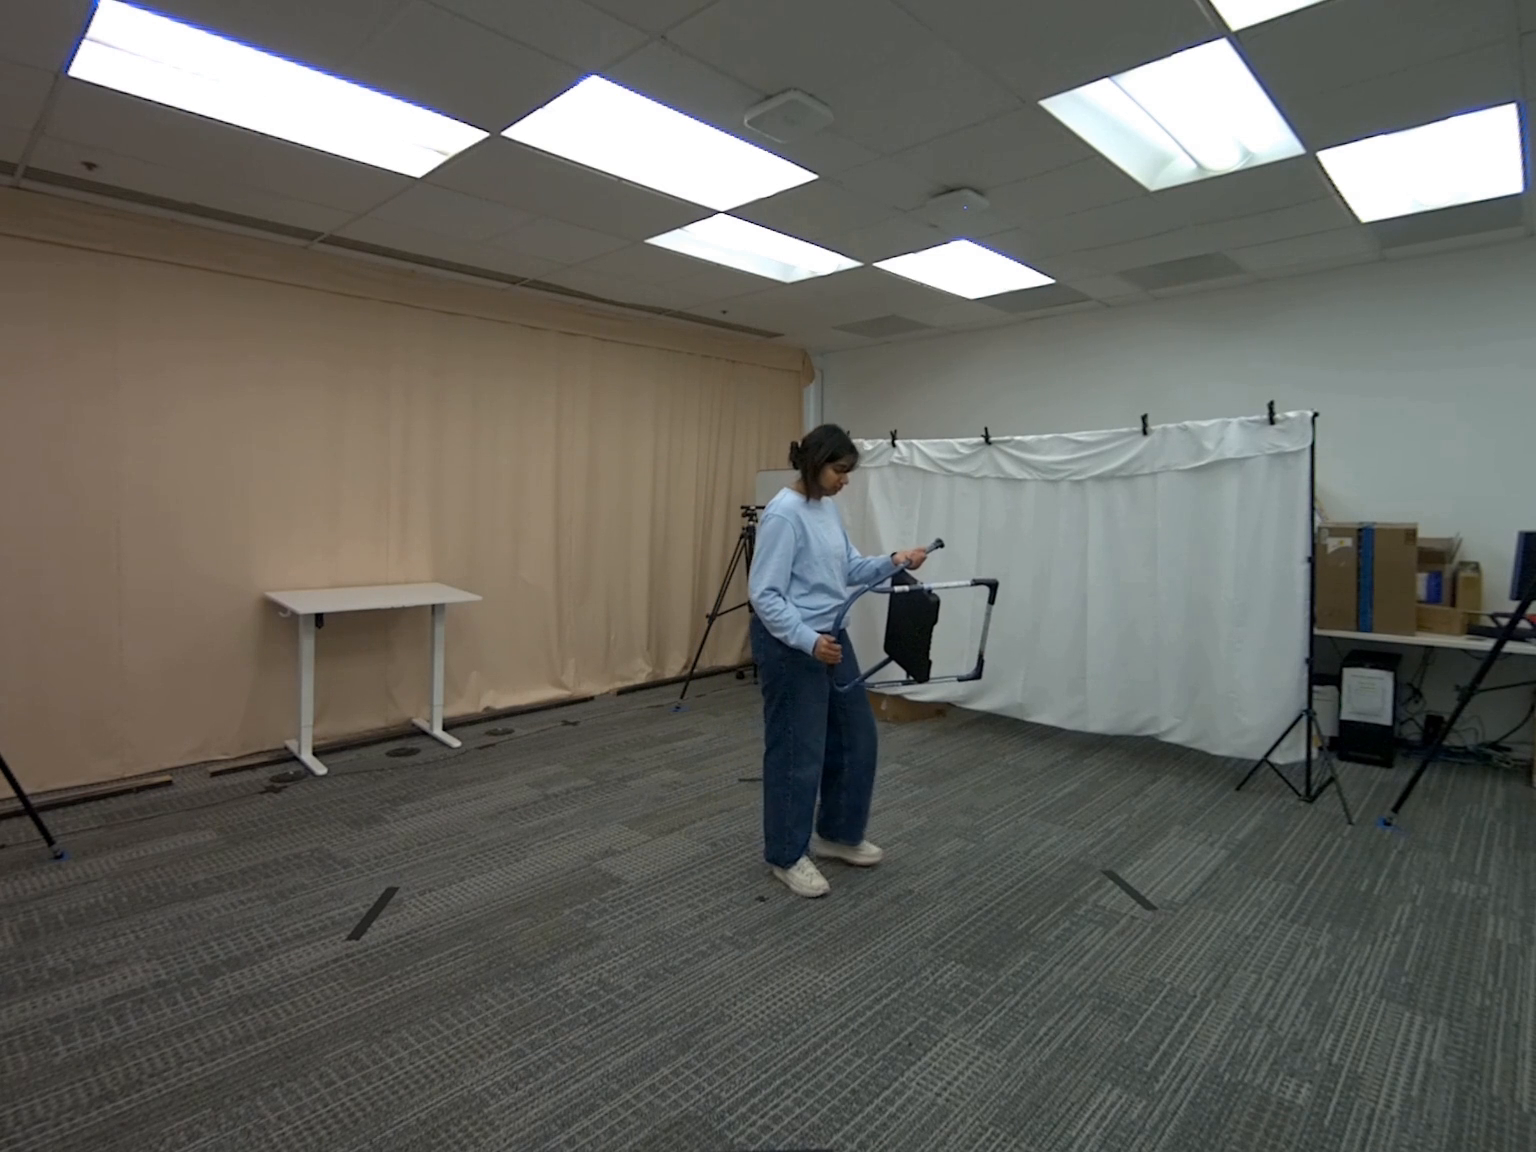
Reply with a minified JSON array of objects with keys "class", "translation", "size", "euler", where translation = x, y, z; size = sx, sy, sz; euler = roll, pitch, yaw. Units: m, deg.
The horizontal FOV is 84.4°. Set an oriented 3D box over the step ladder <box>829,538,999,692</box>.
[{"class":"step ladder","translation":[0.452,0.180,3.001],"size":[0.594,0.424,0.361],"euler":[-12,30,-23]}]
